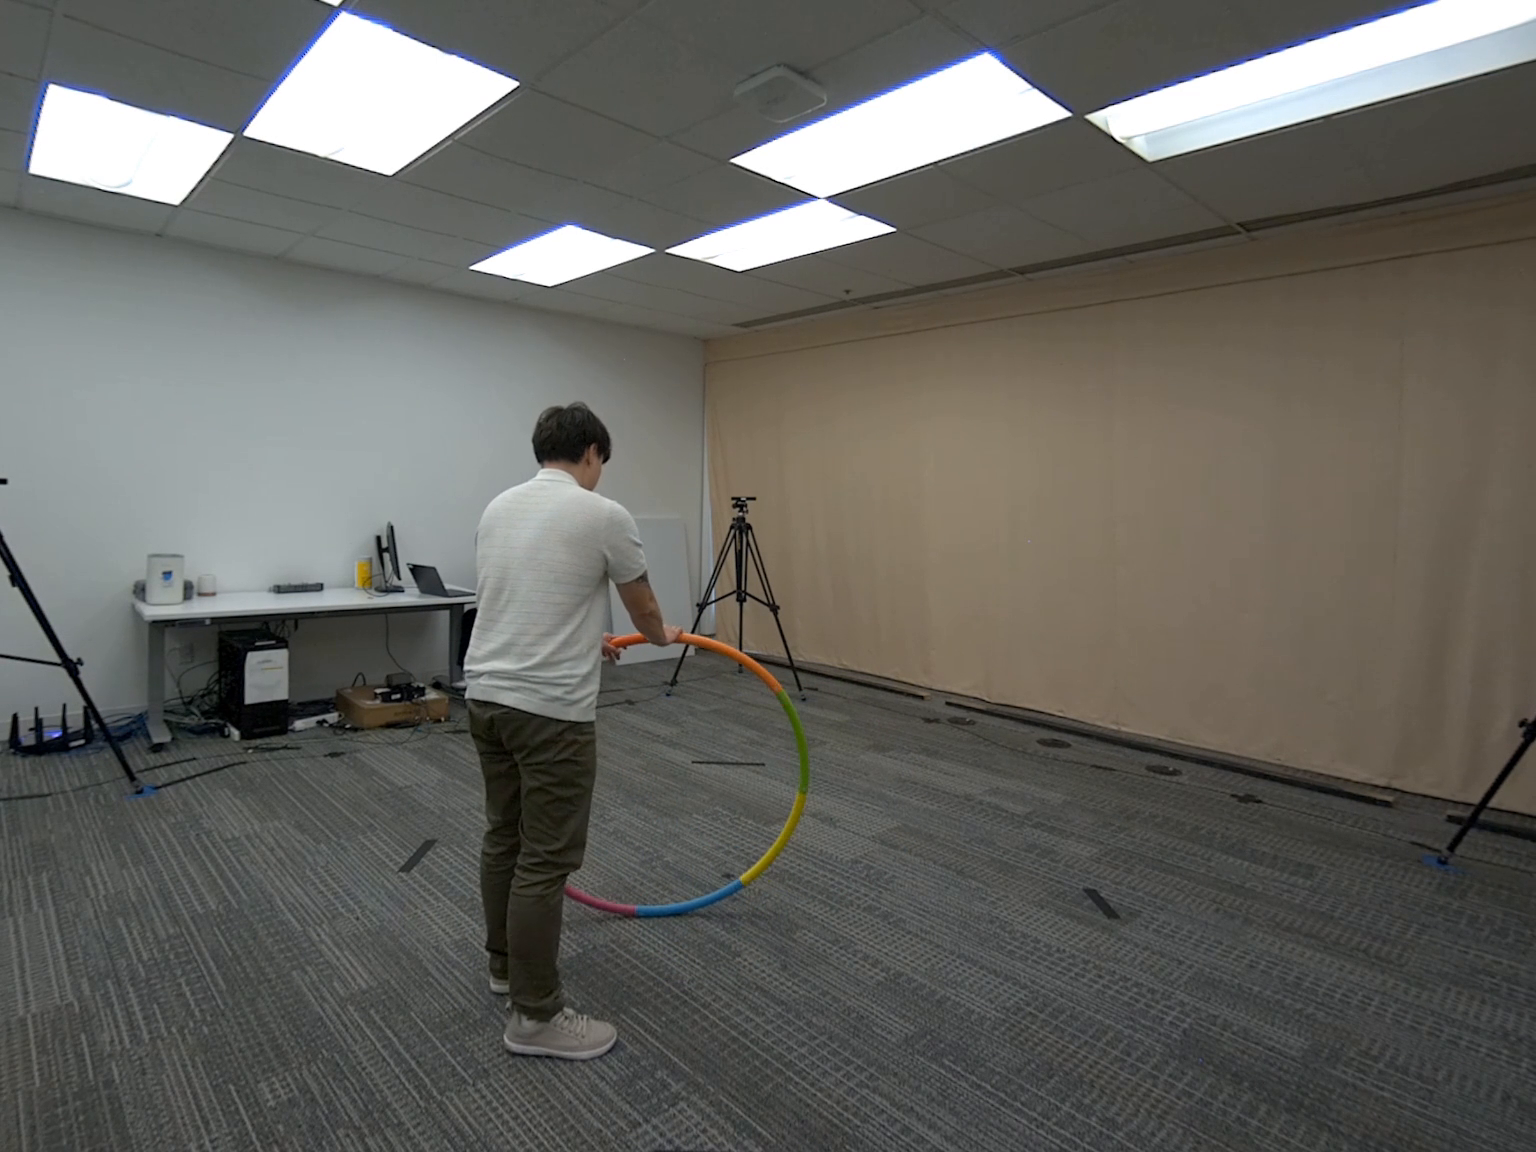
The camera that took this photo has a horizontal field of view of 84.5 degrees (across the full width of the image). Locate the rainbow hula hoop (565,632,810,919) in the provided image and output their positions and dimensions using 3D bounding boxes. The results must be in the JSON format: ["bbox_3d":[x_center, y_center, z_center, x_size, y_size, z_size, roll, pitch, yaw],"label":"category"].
[{"bbox_3d":[-0.358,0.659,2.734,0.973,0.973,0.036,1,7,-7],"label":"rainbow hula hoop"}]
